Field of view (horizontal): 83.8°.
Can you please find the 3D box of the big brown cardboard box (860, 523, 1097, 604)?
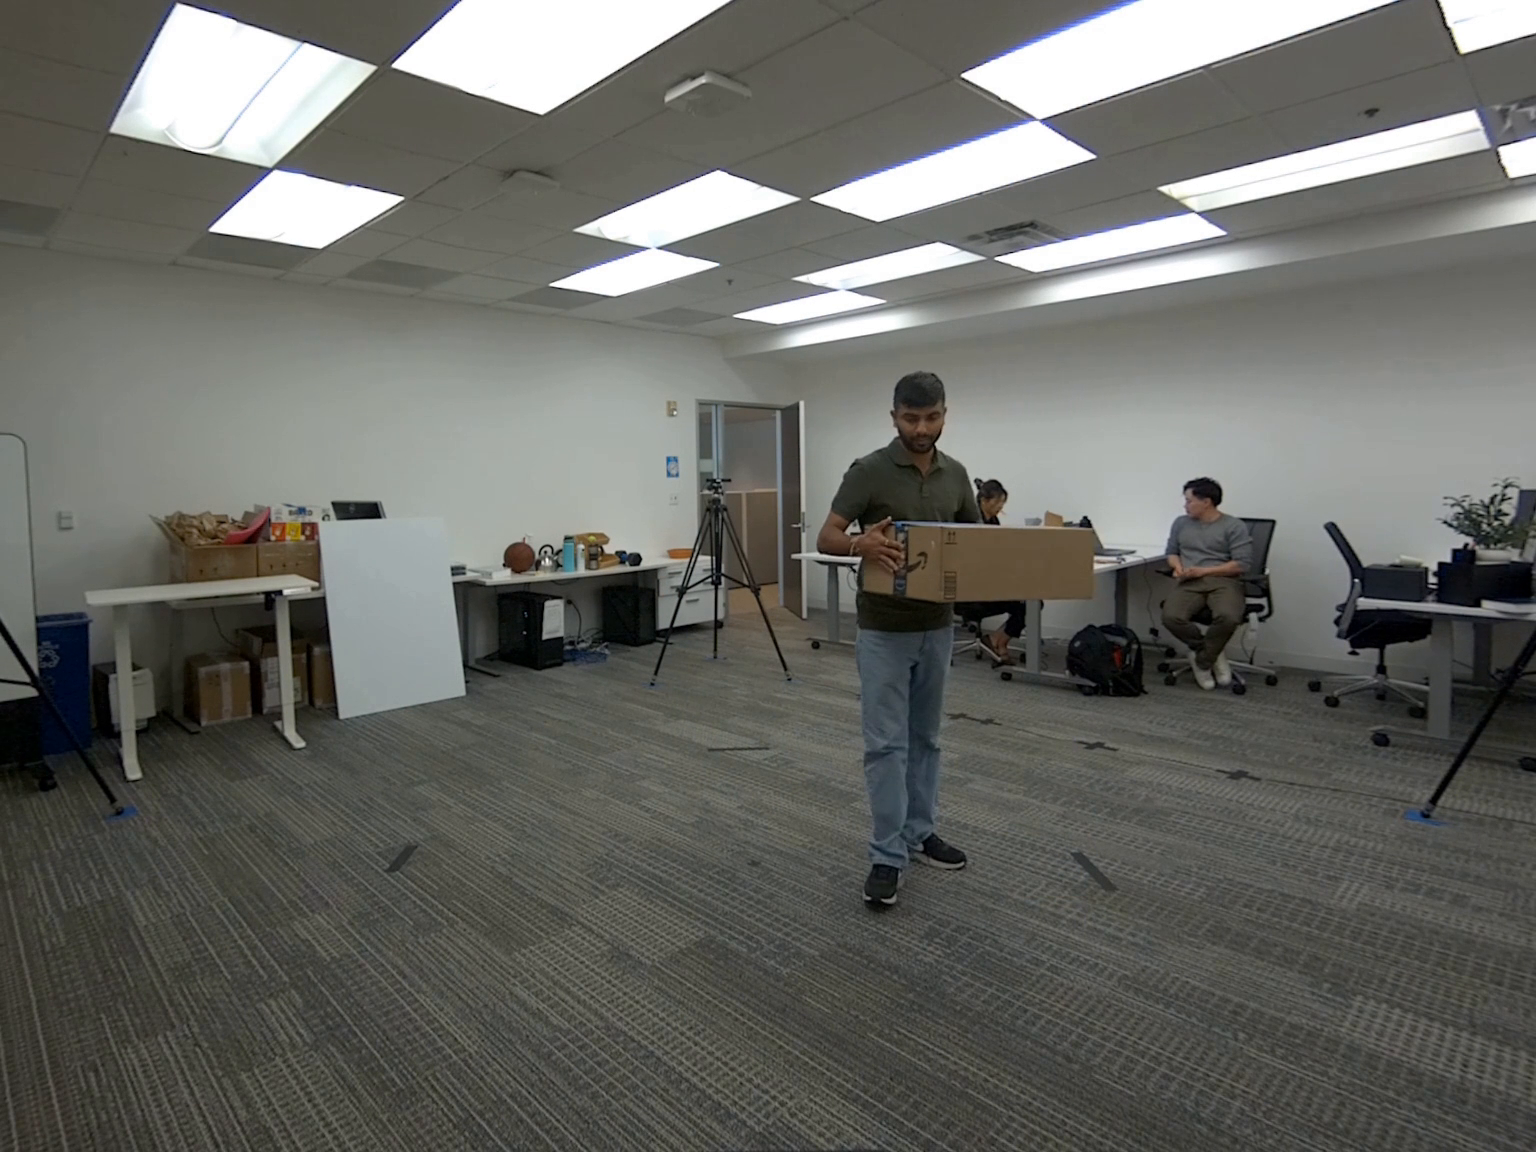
[{"bbox_3d":[0.644,-0.049,2.670,0.577,0.233,0.427,0,3,-23],"label":"big brown cardboard box"}]
